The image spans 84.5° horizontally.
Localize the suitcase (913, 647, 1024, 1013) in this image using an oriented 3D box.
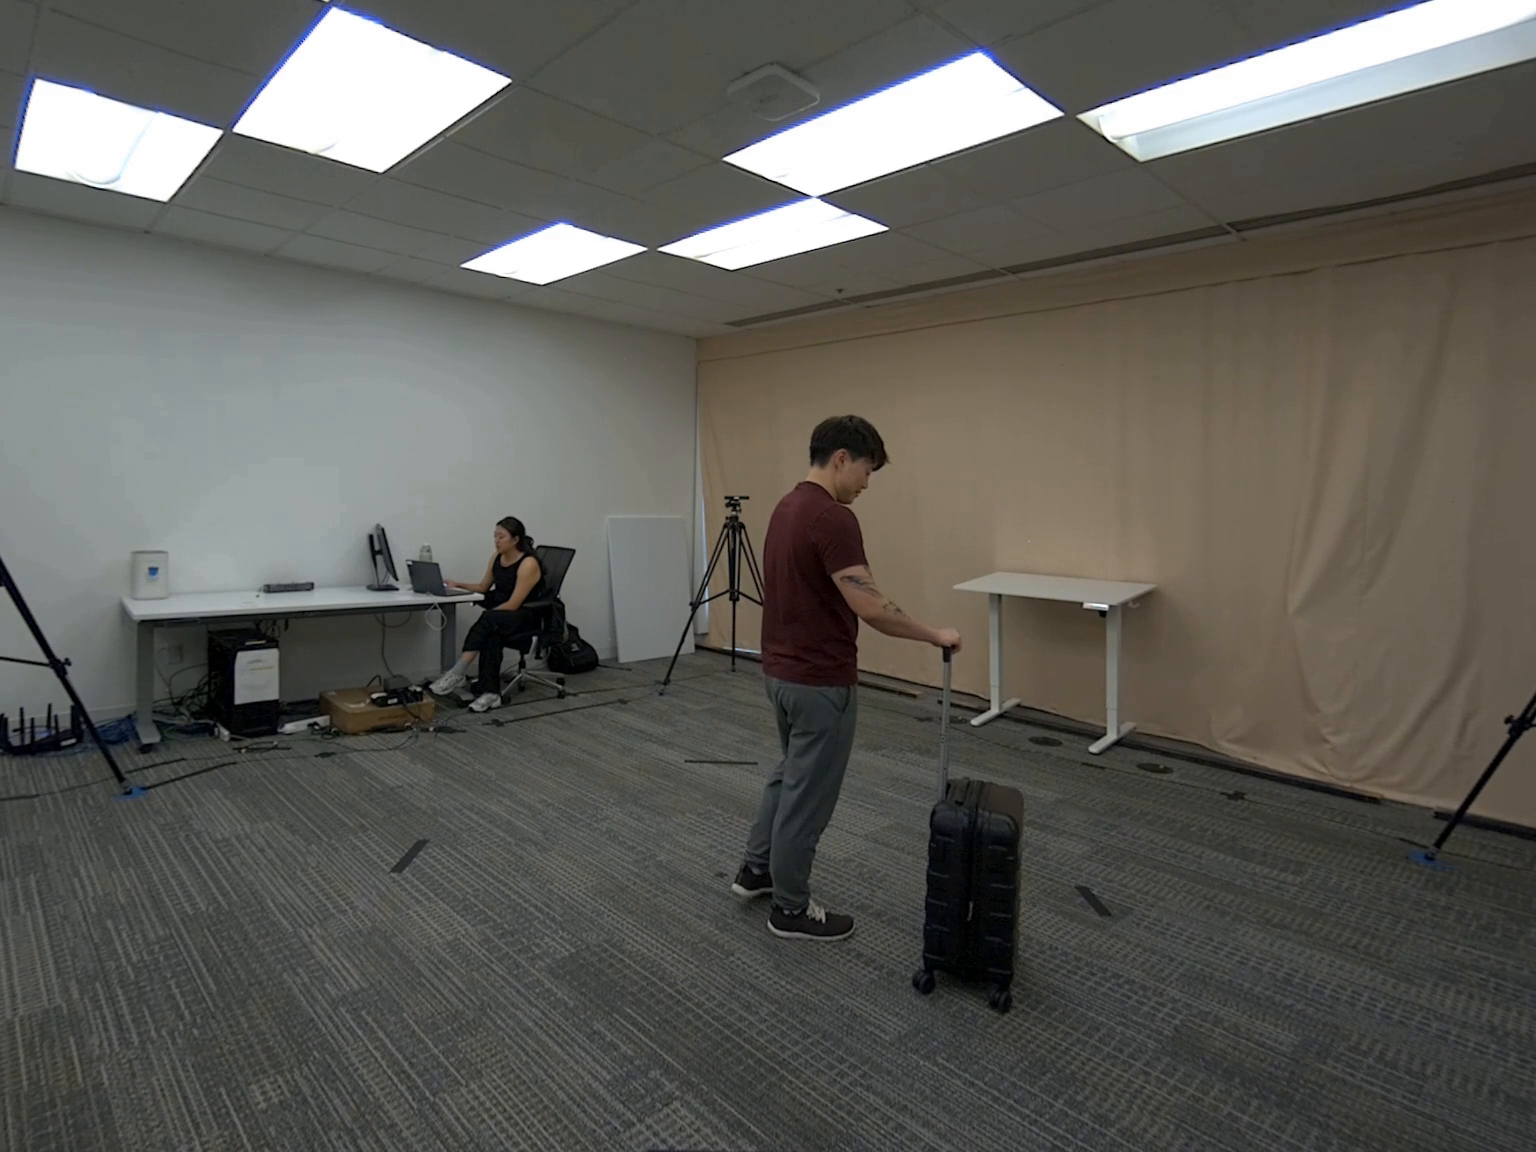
[{"bbox_3d":[0.628,0.708,2.478,0.261,0.976,0.379,6,4,17],"label":"suitcase"}]
